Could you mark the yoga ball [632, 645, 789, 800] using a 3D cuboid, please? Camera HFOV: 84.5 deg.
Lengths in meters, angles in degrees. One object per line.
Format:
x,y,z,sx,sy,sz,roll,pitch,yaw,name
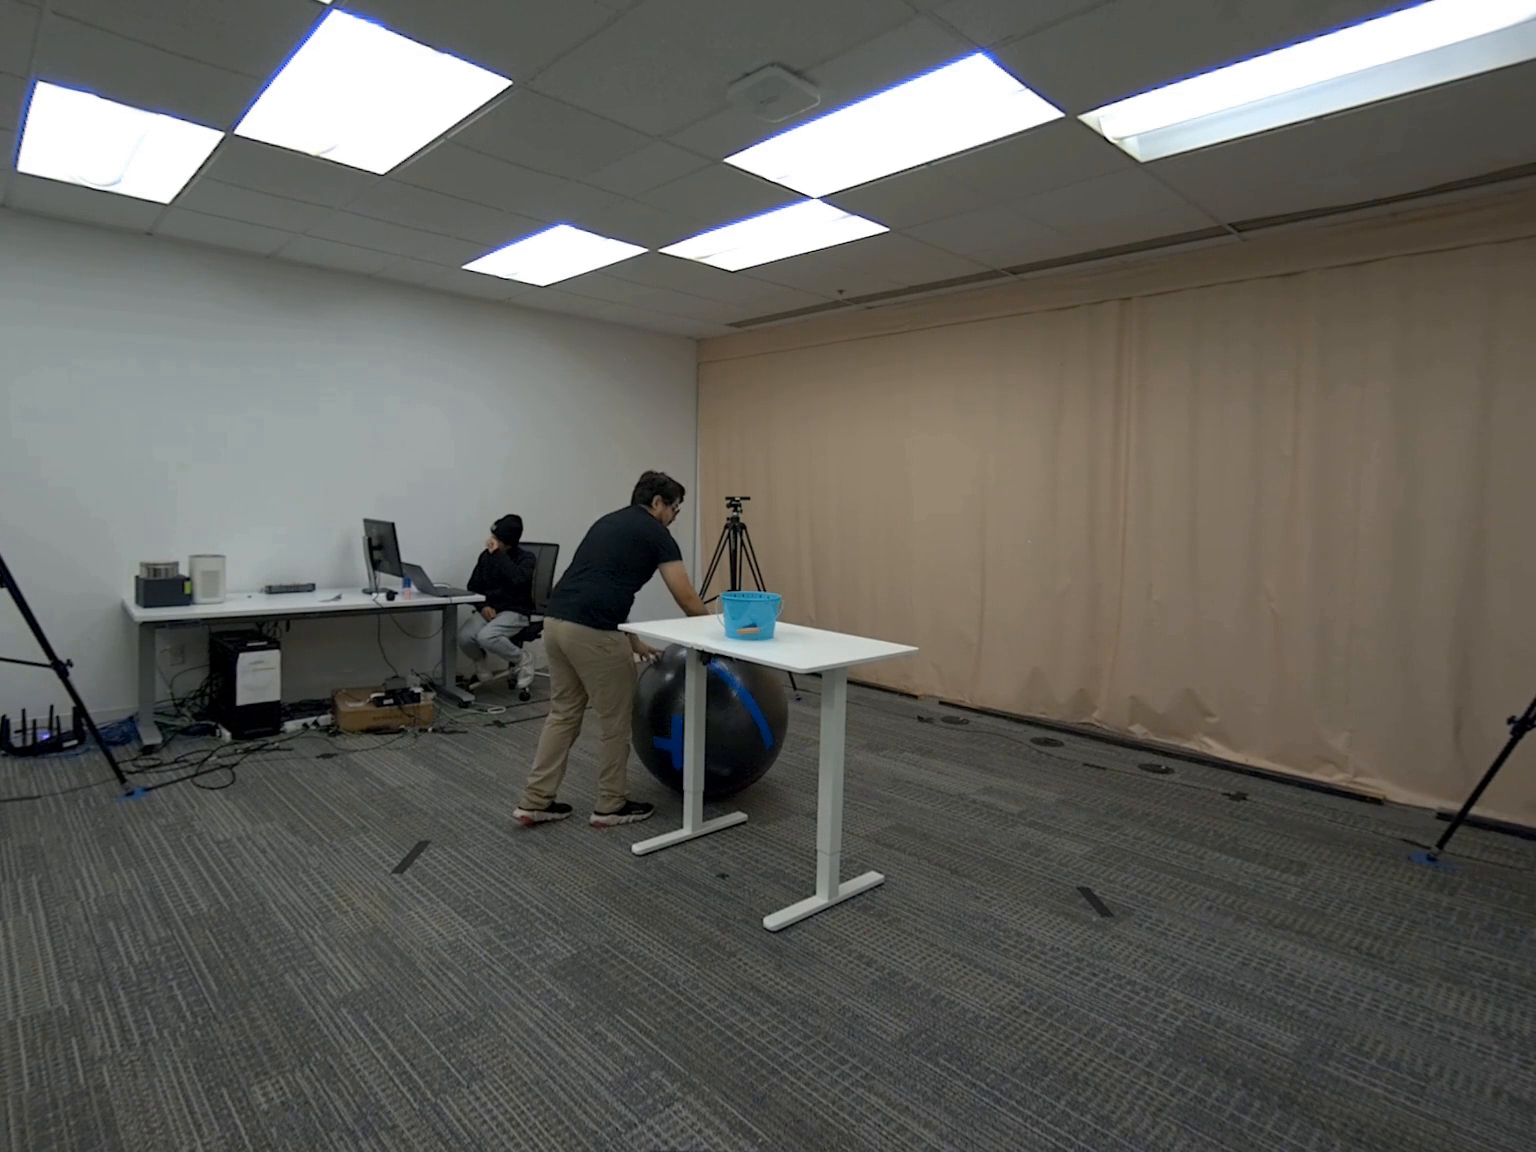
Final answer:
-0.291,0.661,4.006,0.757,0.756,0.761,1,4,-1,yoga ball
